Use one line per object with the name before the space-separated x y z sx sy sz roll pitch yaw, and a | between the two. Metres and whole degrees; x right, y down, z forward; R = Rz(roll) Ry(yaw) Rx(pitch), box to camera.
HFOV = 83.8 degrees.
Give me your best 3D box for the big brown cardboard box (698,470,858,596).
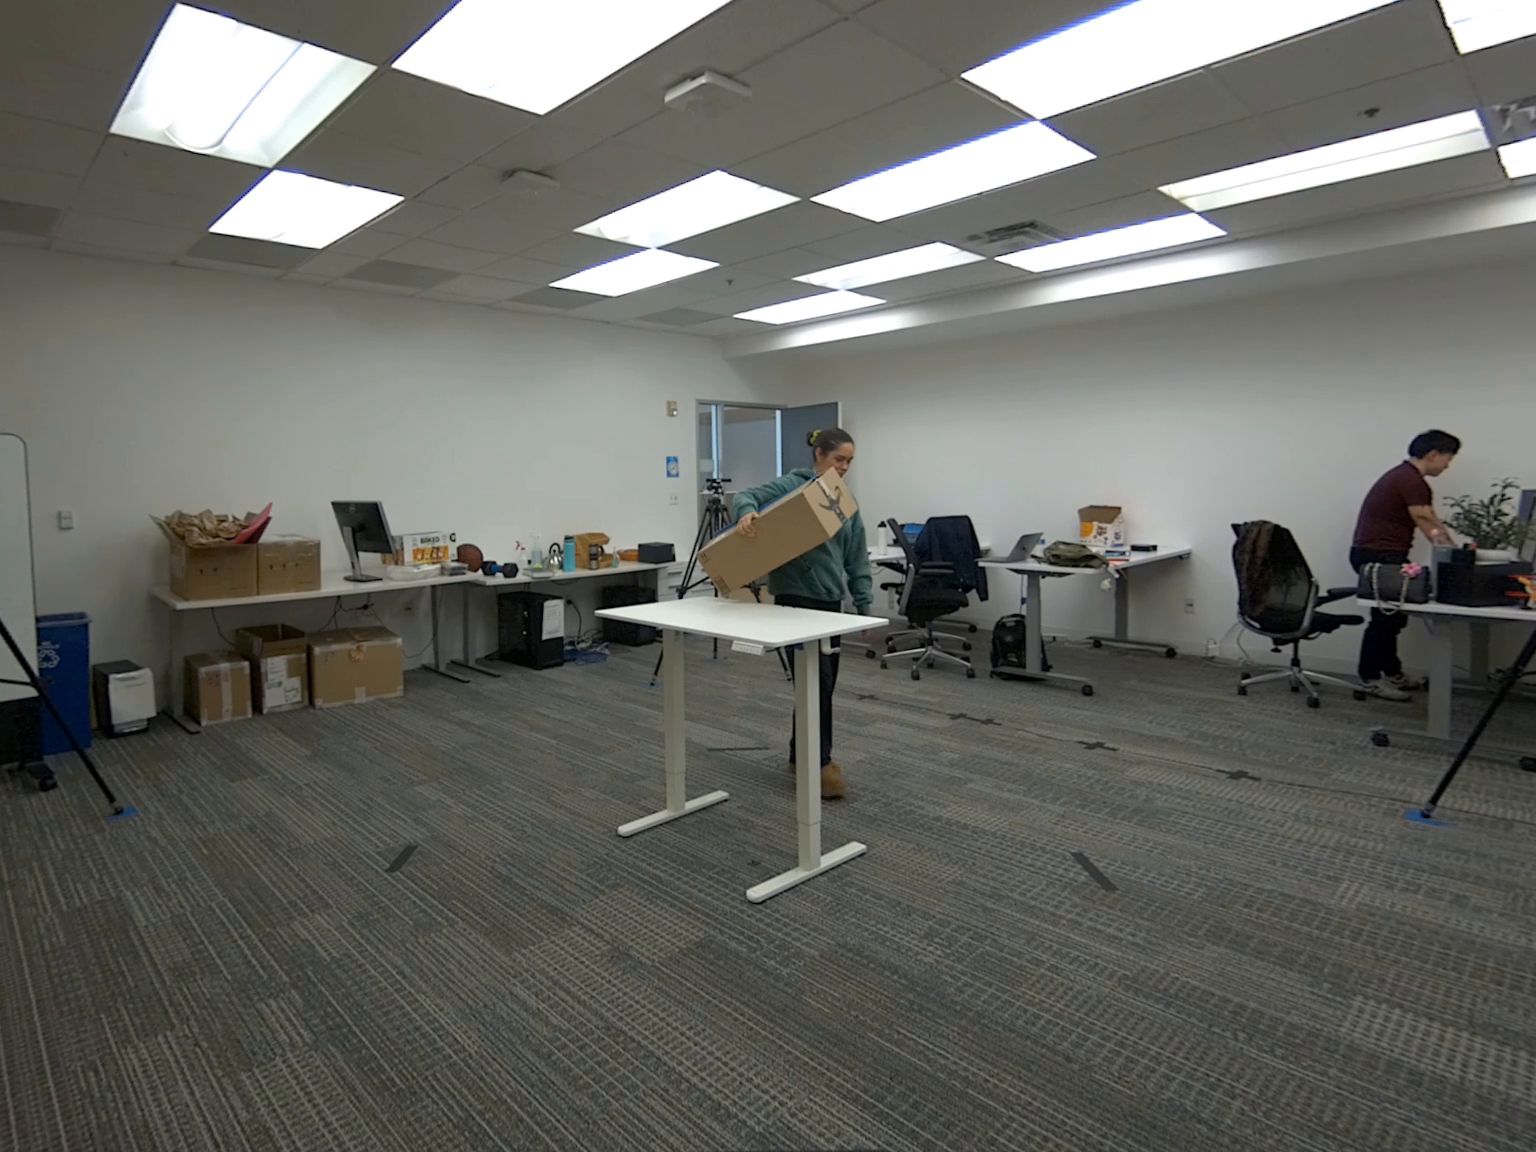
big brown cardboard box | 0.039 -0.184 3.611 0.595 0.232 0.416 -28 8 29
